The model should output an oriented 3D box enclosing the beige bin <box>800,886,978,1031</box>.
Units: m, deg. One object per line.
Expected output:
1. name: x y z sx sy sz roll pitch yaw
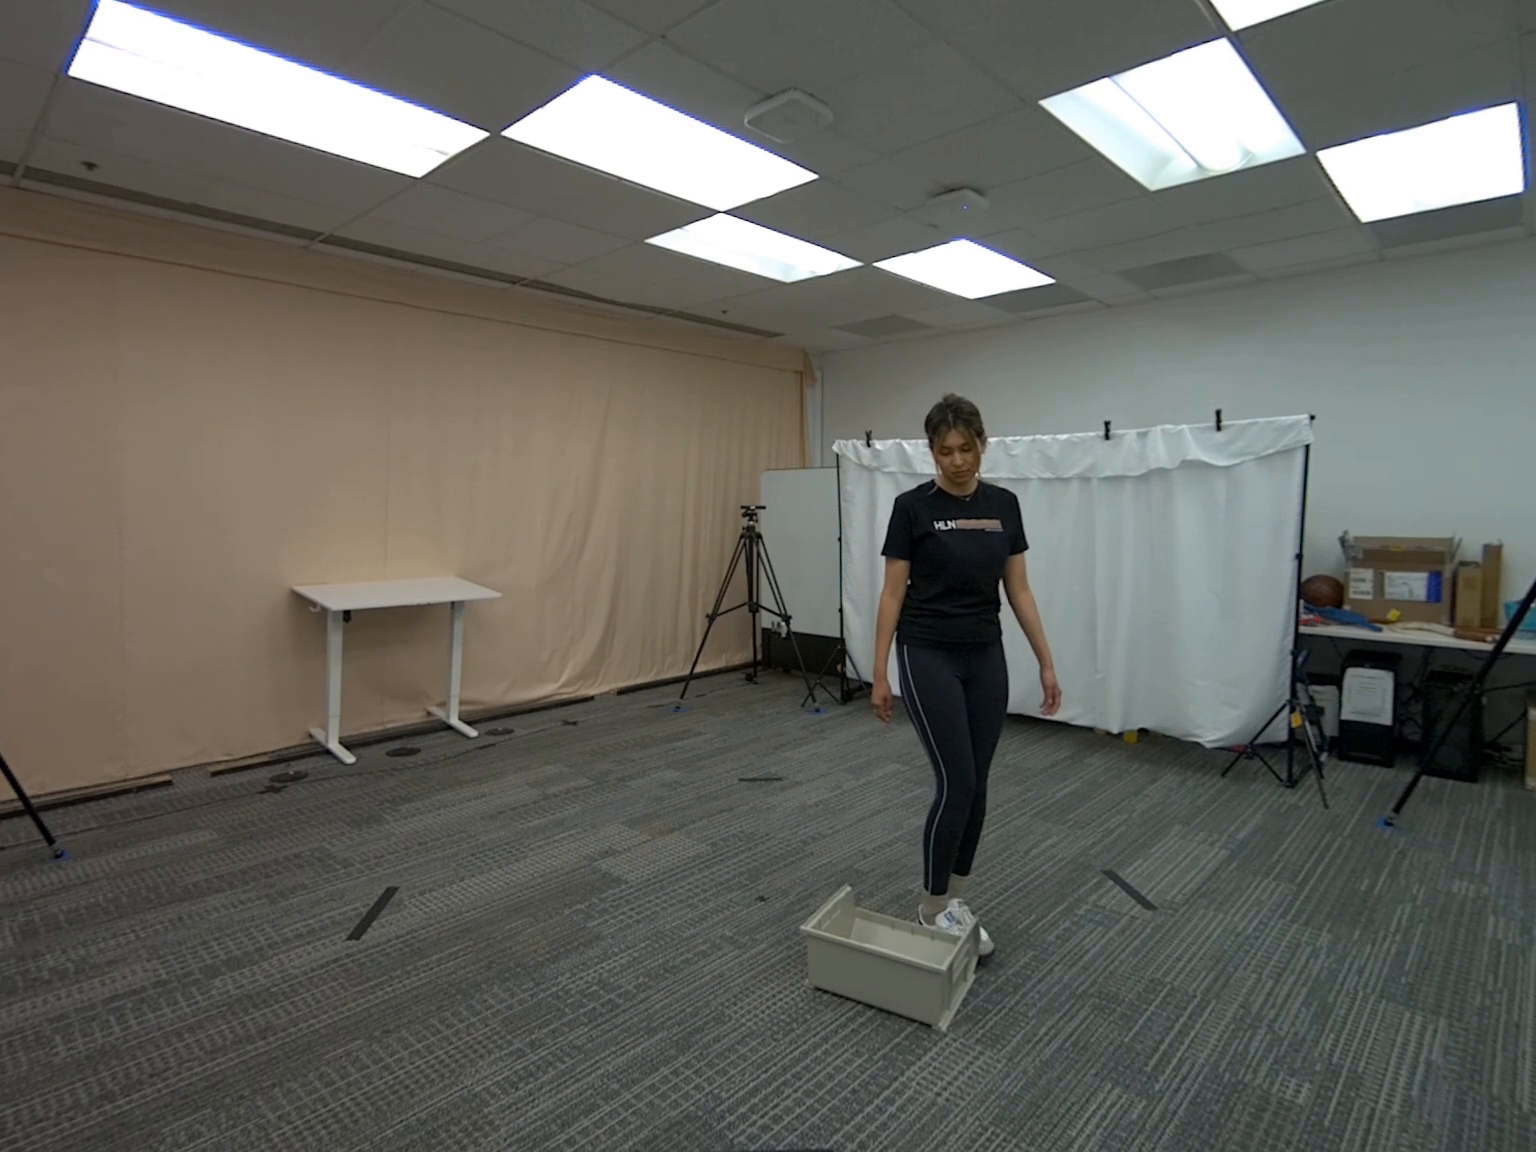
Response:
1. beige bin: 0.370 1.100 2.466 0.435 0.188 0.367 3 6 30
